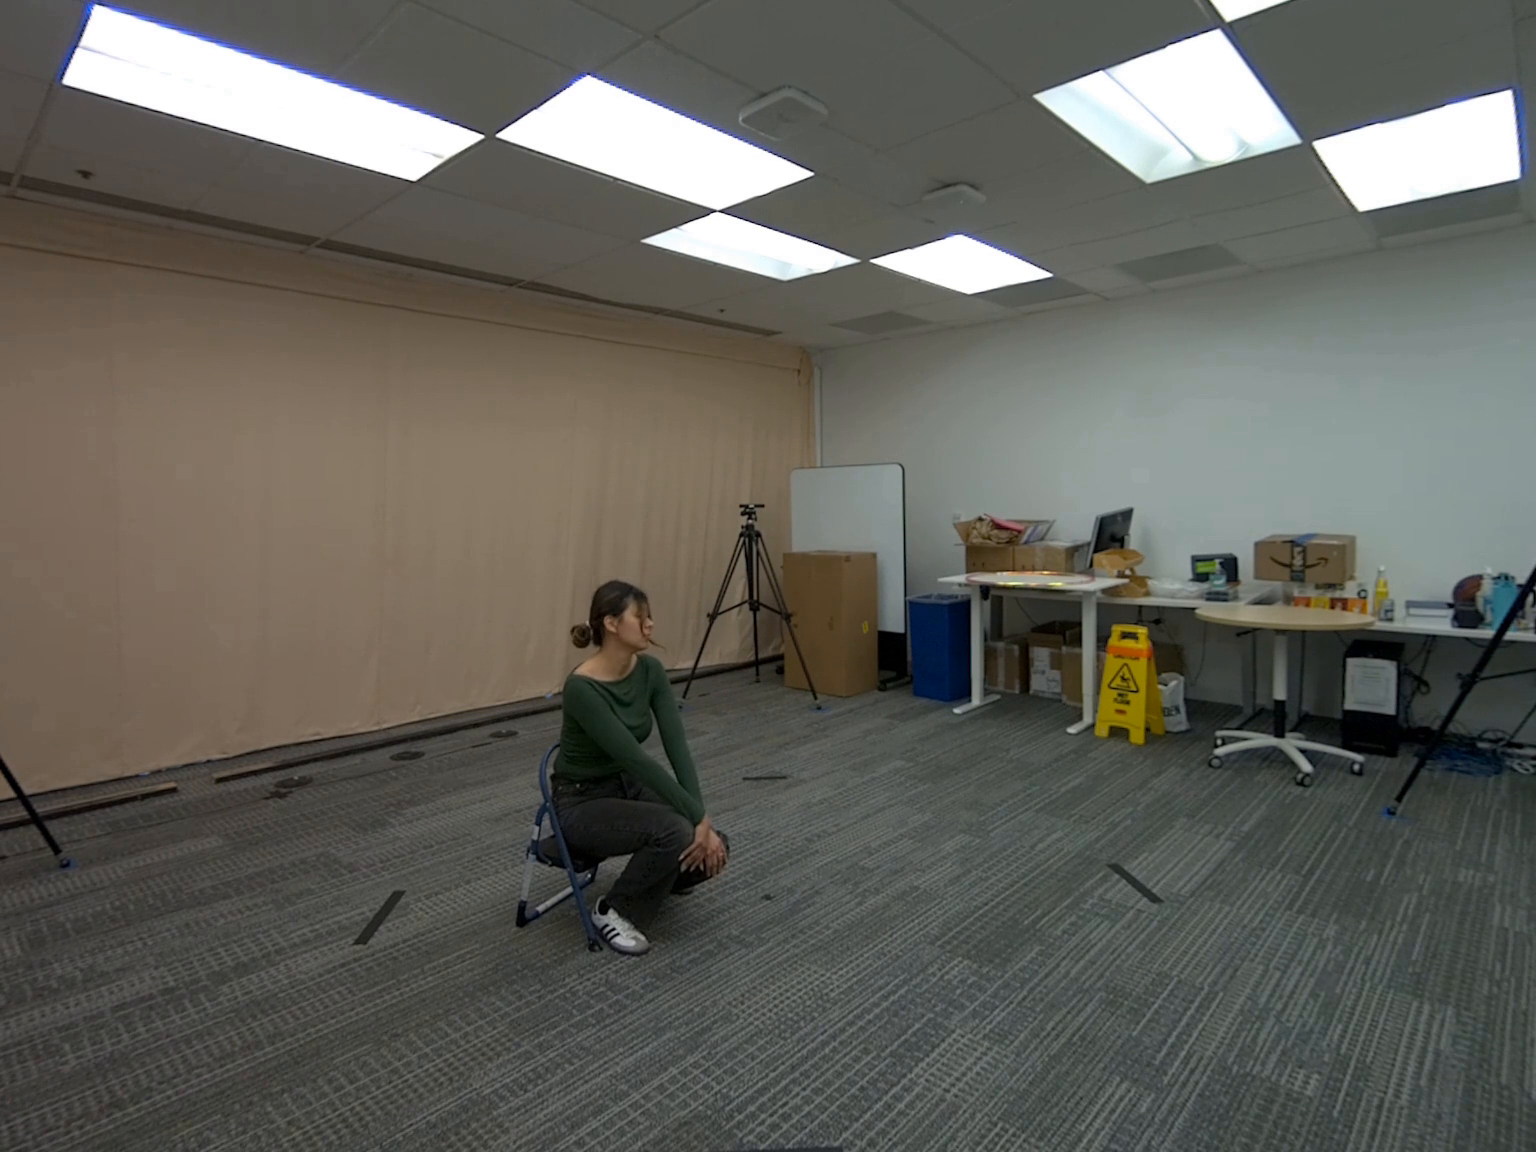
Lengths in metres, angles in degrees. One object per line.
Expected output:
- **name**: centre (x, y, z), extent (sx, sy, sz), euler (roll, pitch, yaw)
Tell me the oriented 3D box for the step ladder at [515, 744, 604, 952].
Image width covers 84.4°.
- **step ladder**: centre (-0.612, 0.866, 2.898), extent (0.359, 0.605, 0.420), euler (0, 3, 27)
